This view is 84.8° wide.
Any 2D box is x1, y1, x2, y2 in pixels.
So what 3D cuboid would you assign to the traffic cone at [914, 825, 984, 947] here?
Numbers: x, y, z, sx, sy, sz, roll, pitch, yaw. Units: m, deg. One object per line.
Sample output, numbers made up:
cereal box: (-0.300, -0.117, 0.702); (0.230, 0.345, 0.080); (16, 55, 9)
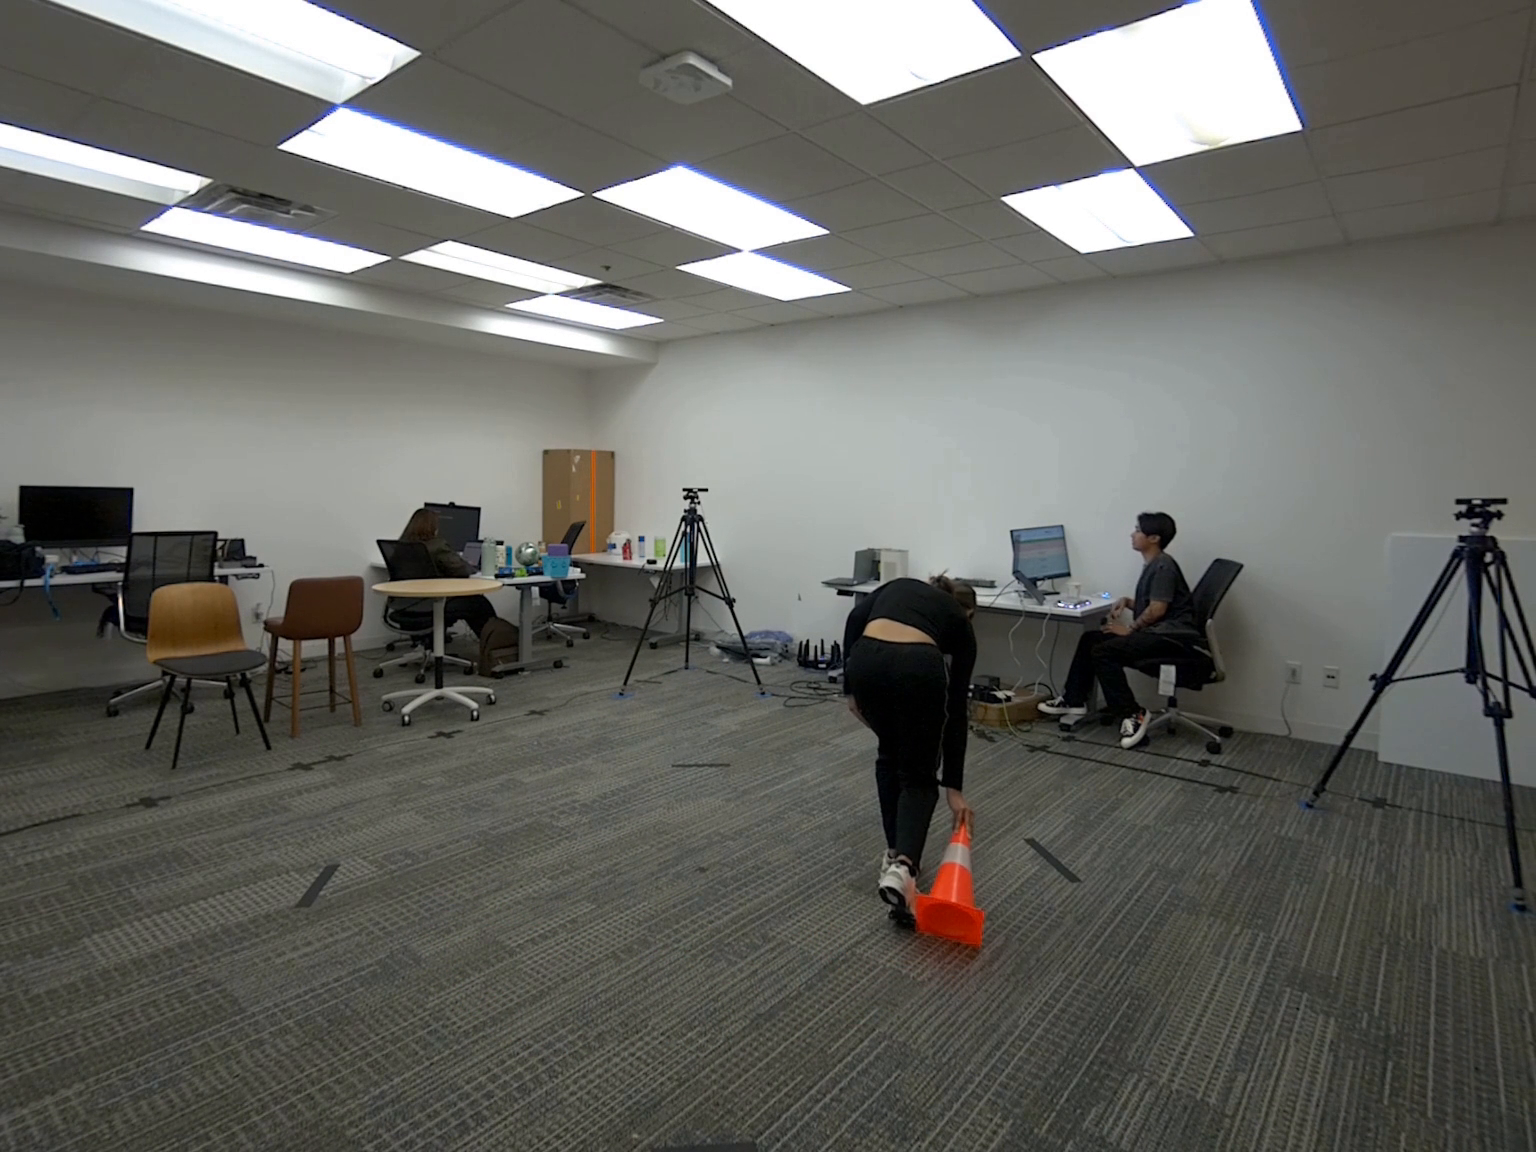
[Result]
traffic cone: (0.623, 0.942, 2.746); (0.209, 0.197, 0.387); (7, 39, 18)
